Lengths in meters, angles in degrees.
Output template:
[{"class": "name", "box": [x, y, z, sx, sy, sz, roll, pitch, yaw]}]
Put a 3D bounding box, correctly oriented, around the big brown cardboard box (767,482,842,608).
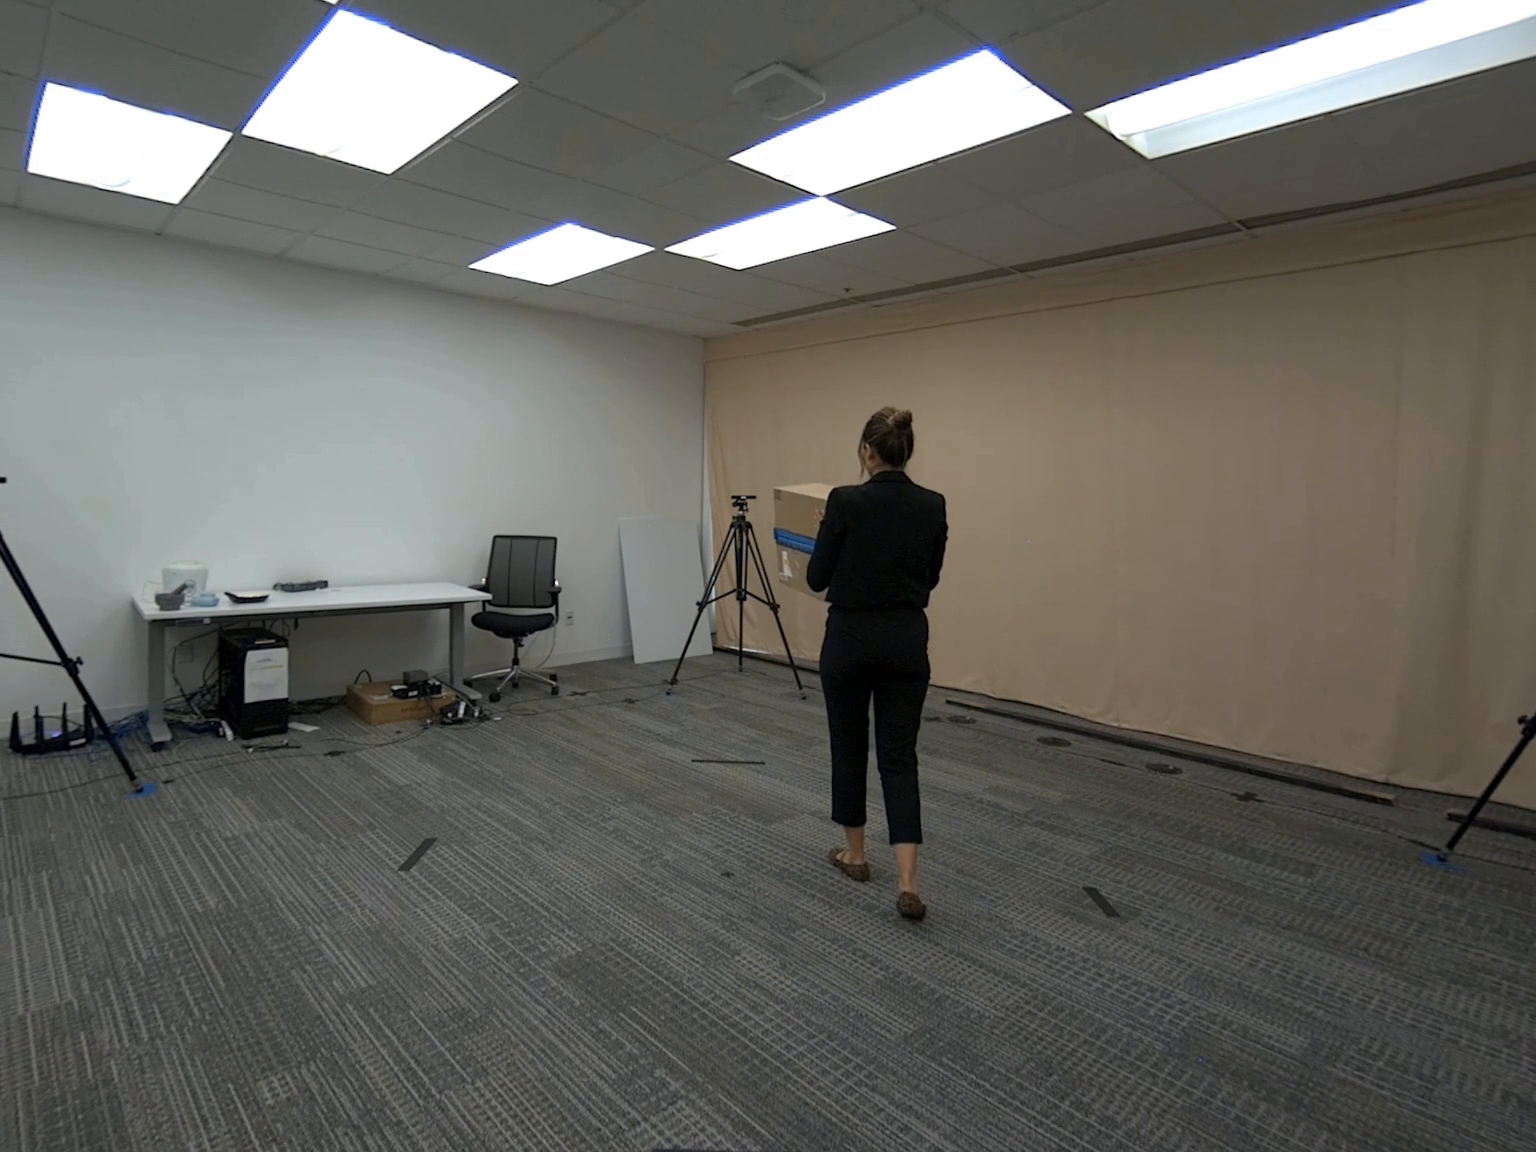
[{"class": "big brown cardboard box", "box": [0.236, -0.138, 3.426, 0.230, 0.414, 0.602, -8, 12, -22]}]
